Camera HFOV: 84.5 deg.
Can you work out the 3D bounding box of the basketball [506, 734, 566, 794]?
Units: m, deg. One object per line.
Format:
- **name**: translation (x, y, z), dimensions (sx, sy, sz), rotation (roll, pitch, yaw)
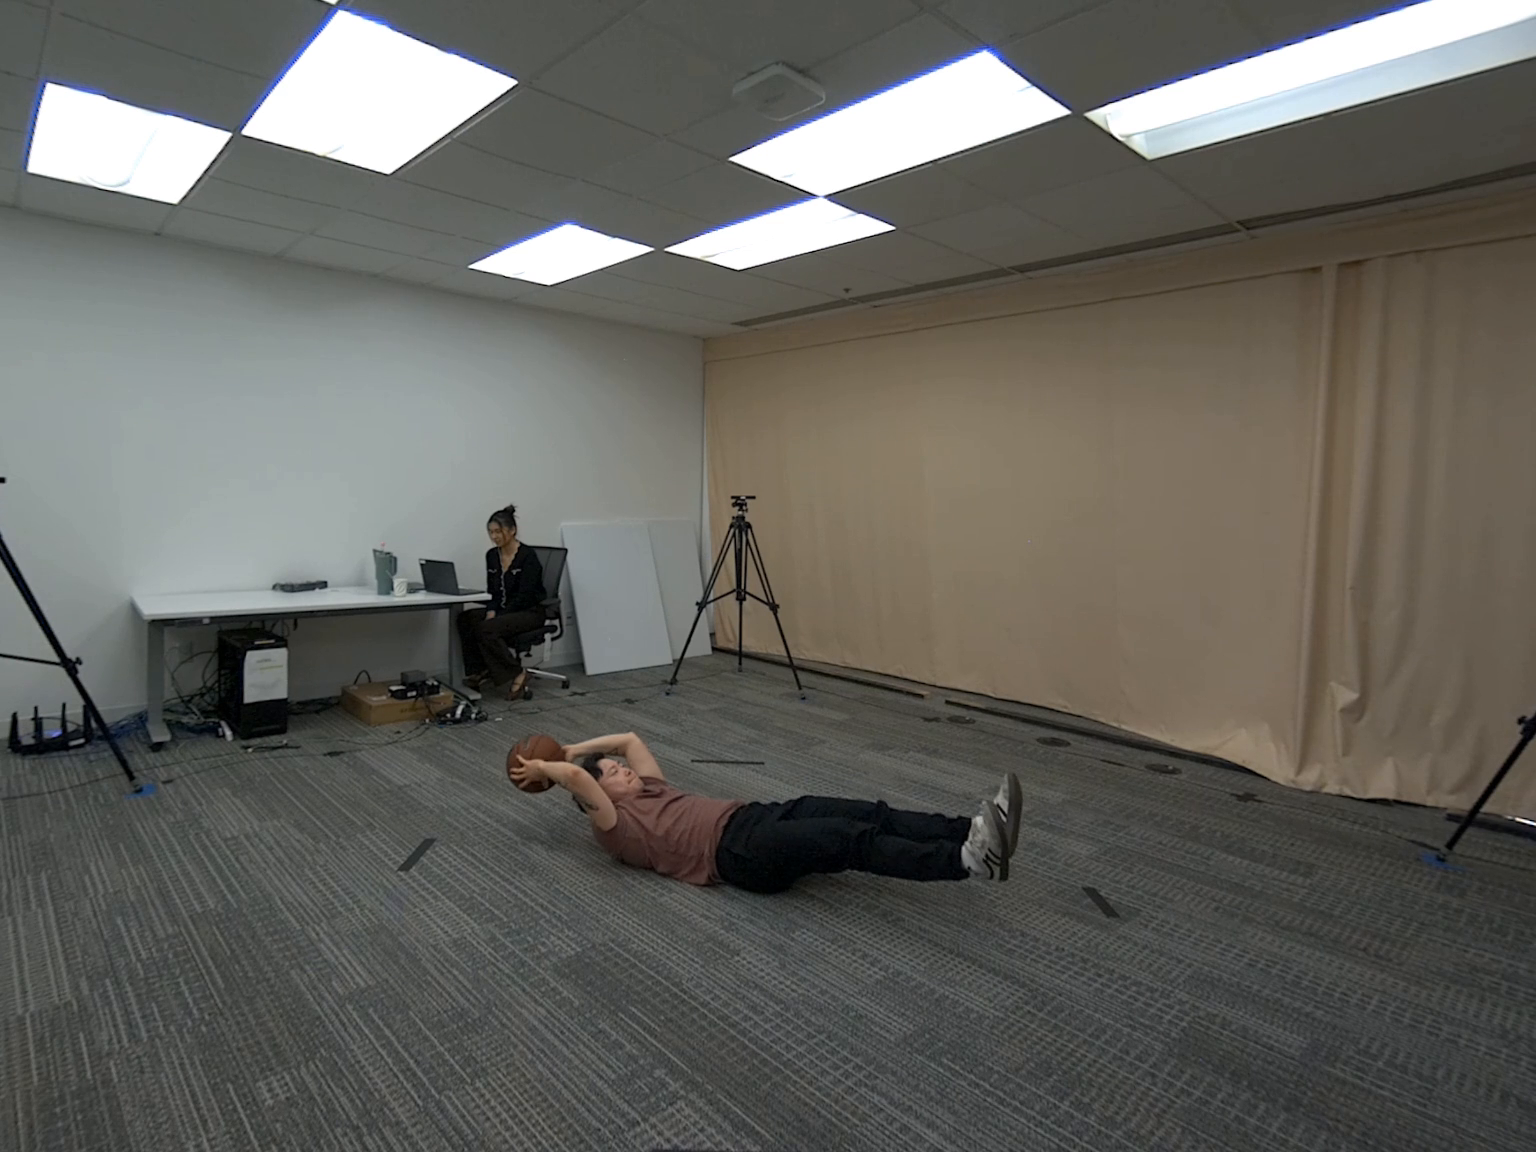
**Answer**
- **basketball**: translation (-0.956, 0.759, 3.438), dimensions (0.236, 0.234, 0.237), rotation (0, 8, -1)
